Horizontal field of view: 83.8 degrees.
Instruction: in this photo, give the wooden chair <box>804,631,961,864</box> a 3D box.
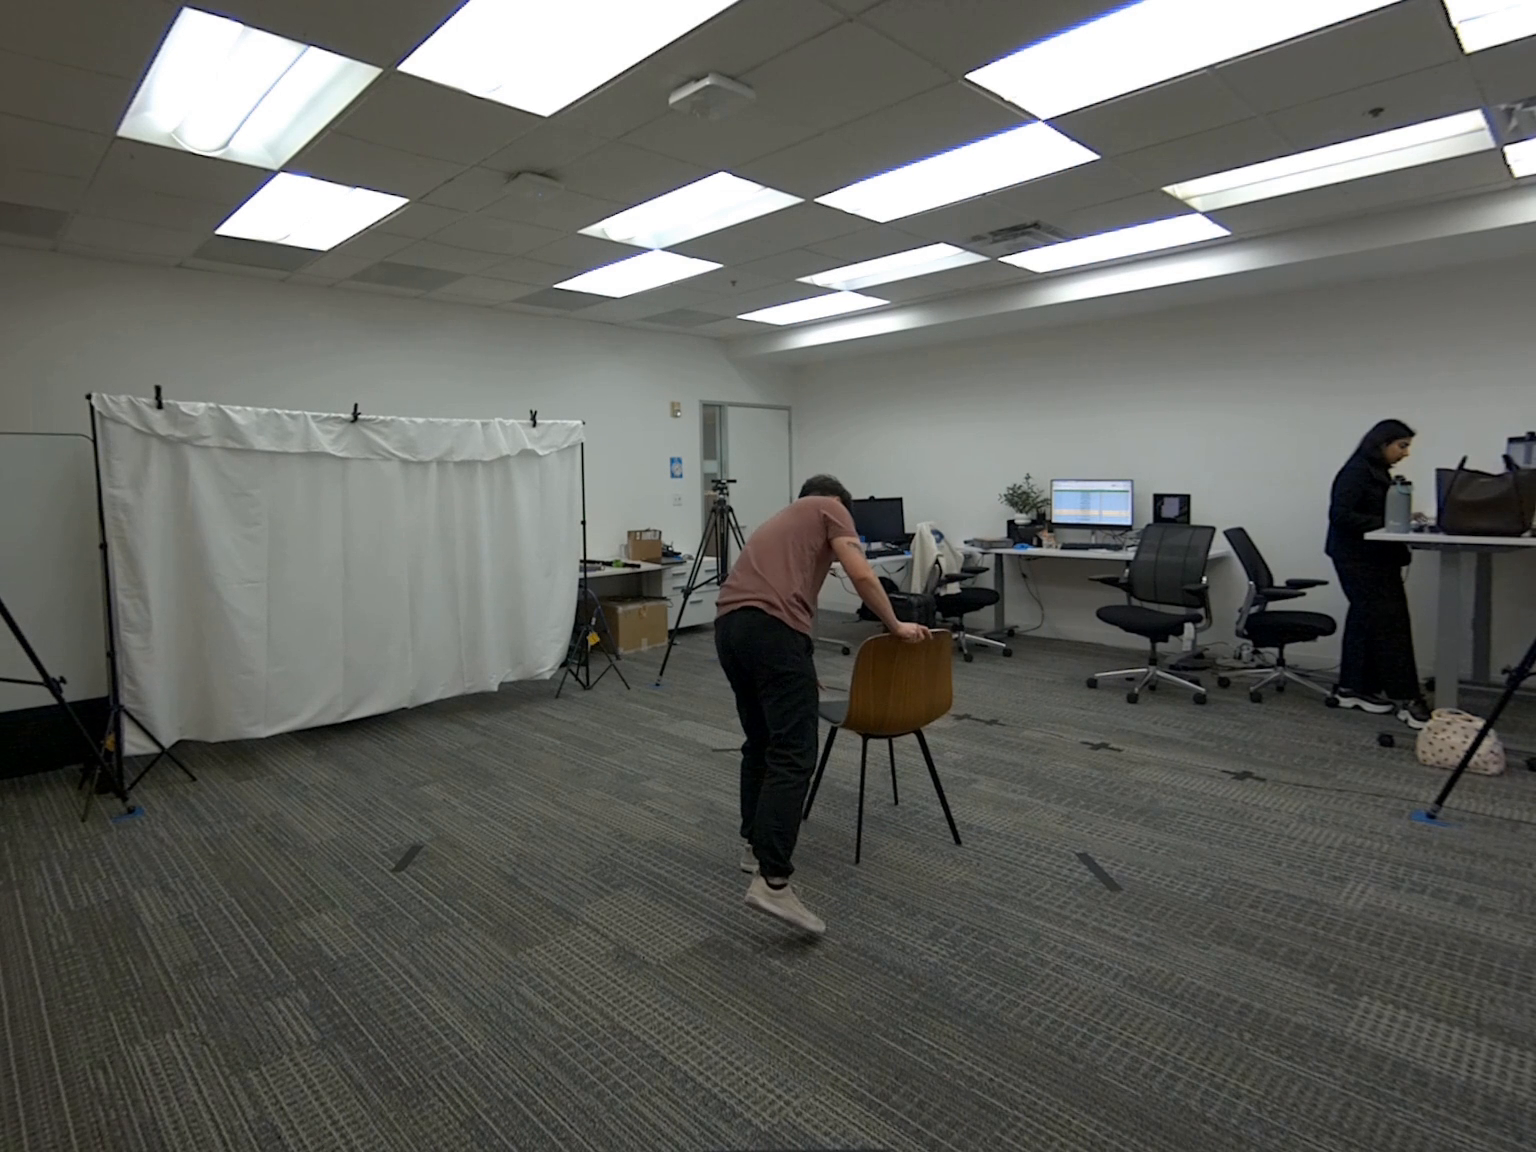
[{"bbox_3d":[0.427,0.583,3.354,0.469,0.871,0.537,-3,9,-22],"label":"wooden chair"}]
